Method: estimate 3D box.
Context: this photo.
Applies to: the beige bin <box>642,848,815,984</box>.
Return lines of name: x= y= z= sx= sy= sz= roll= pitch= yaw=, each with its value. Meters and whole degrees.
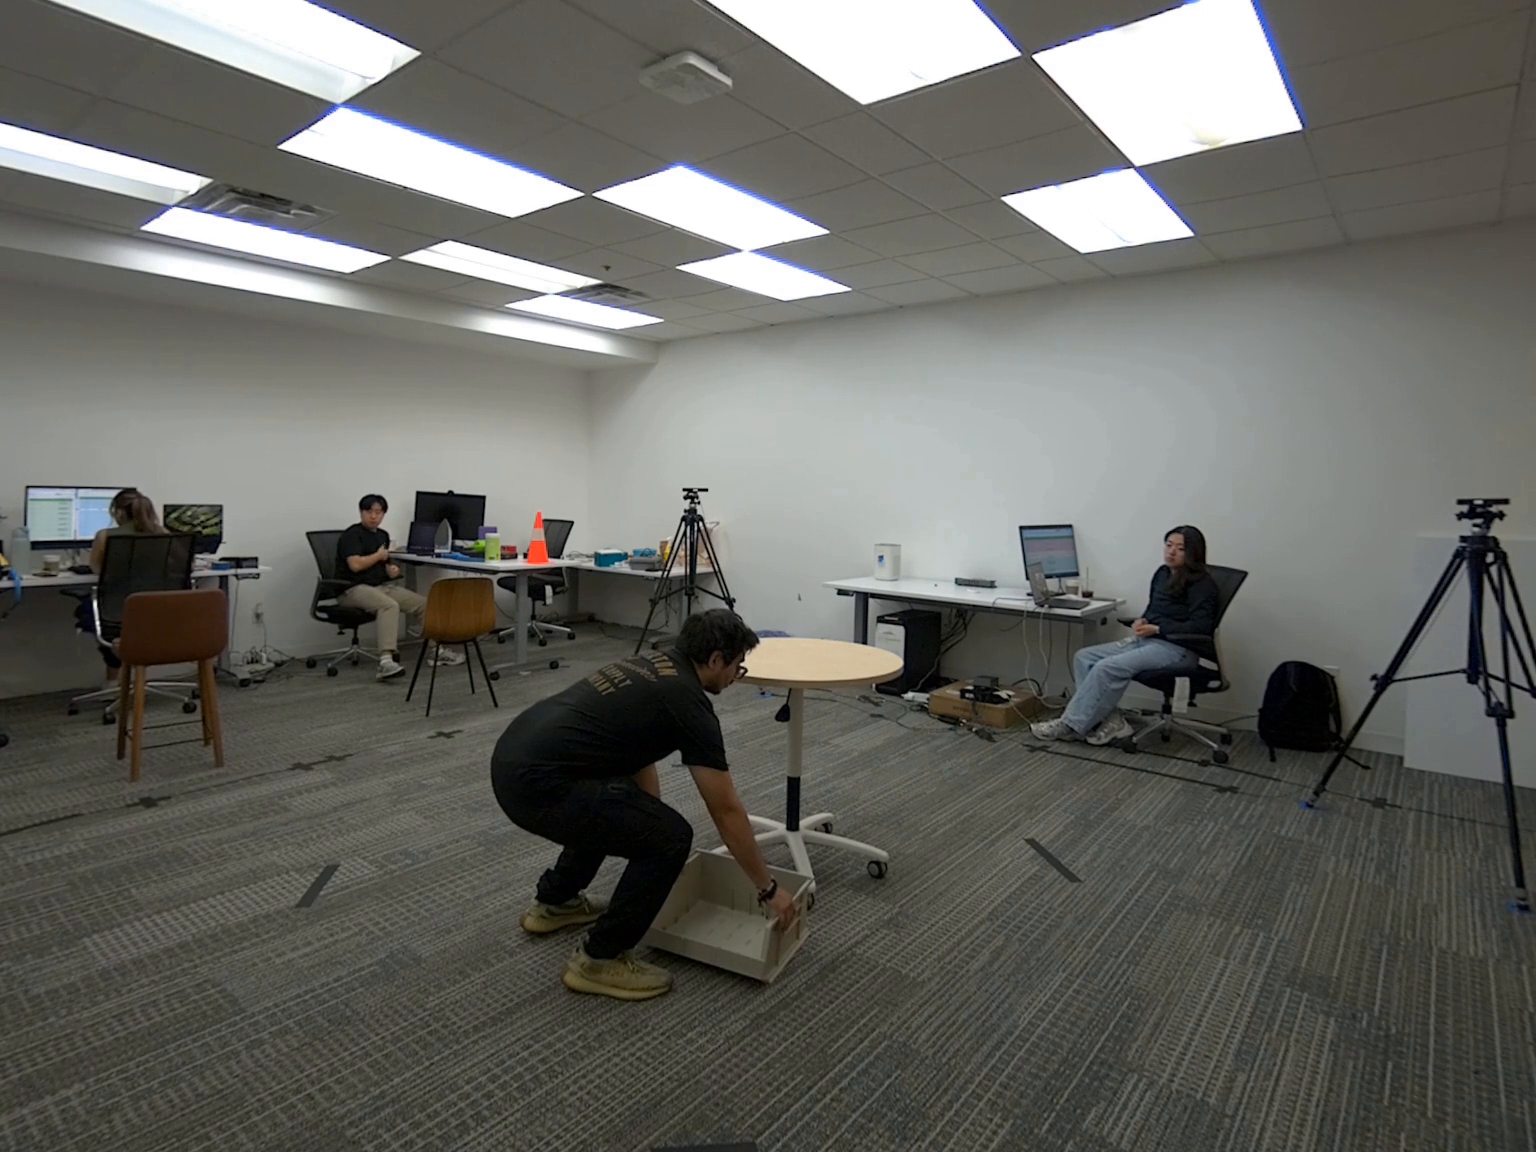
beige bin: x=-0.129 y=1.038 z=2.603 sx=0.434 sy=0.188 sz=0.368 roll=5 pitch=4 yaw=25
